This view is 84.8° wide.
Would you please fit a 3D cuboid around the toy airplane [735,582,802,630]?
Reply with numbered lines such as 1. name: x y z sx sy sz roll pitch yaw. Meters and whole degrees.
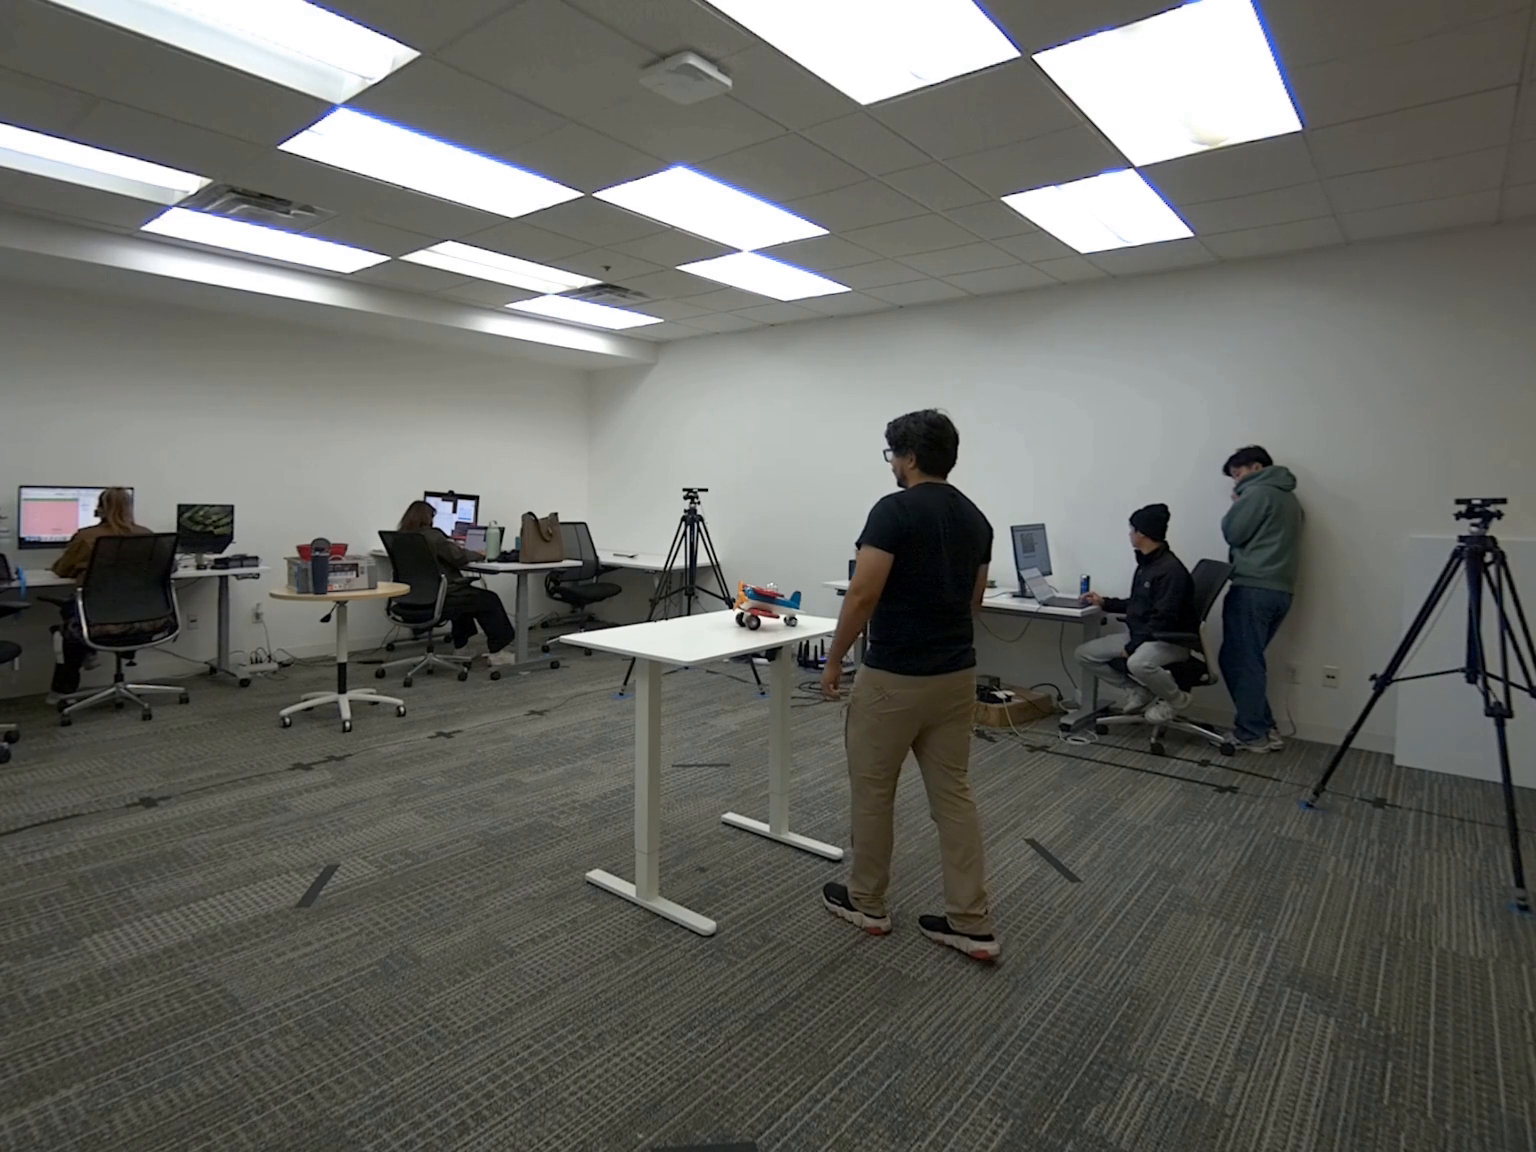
1. toy airplane: -0.019 0.104 3.160 0.259 0.156 0.252 4 7 36
